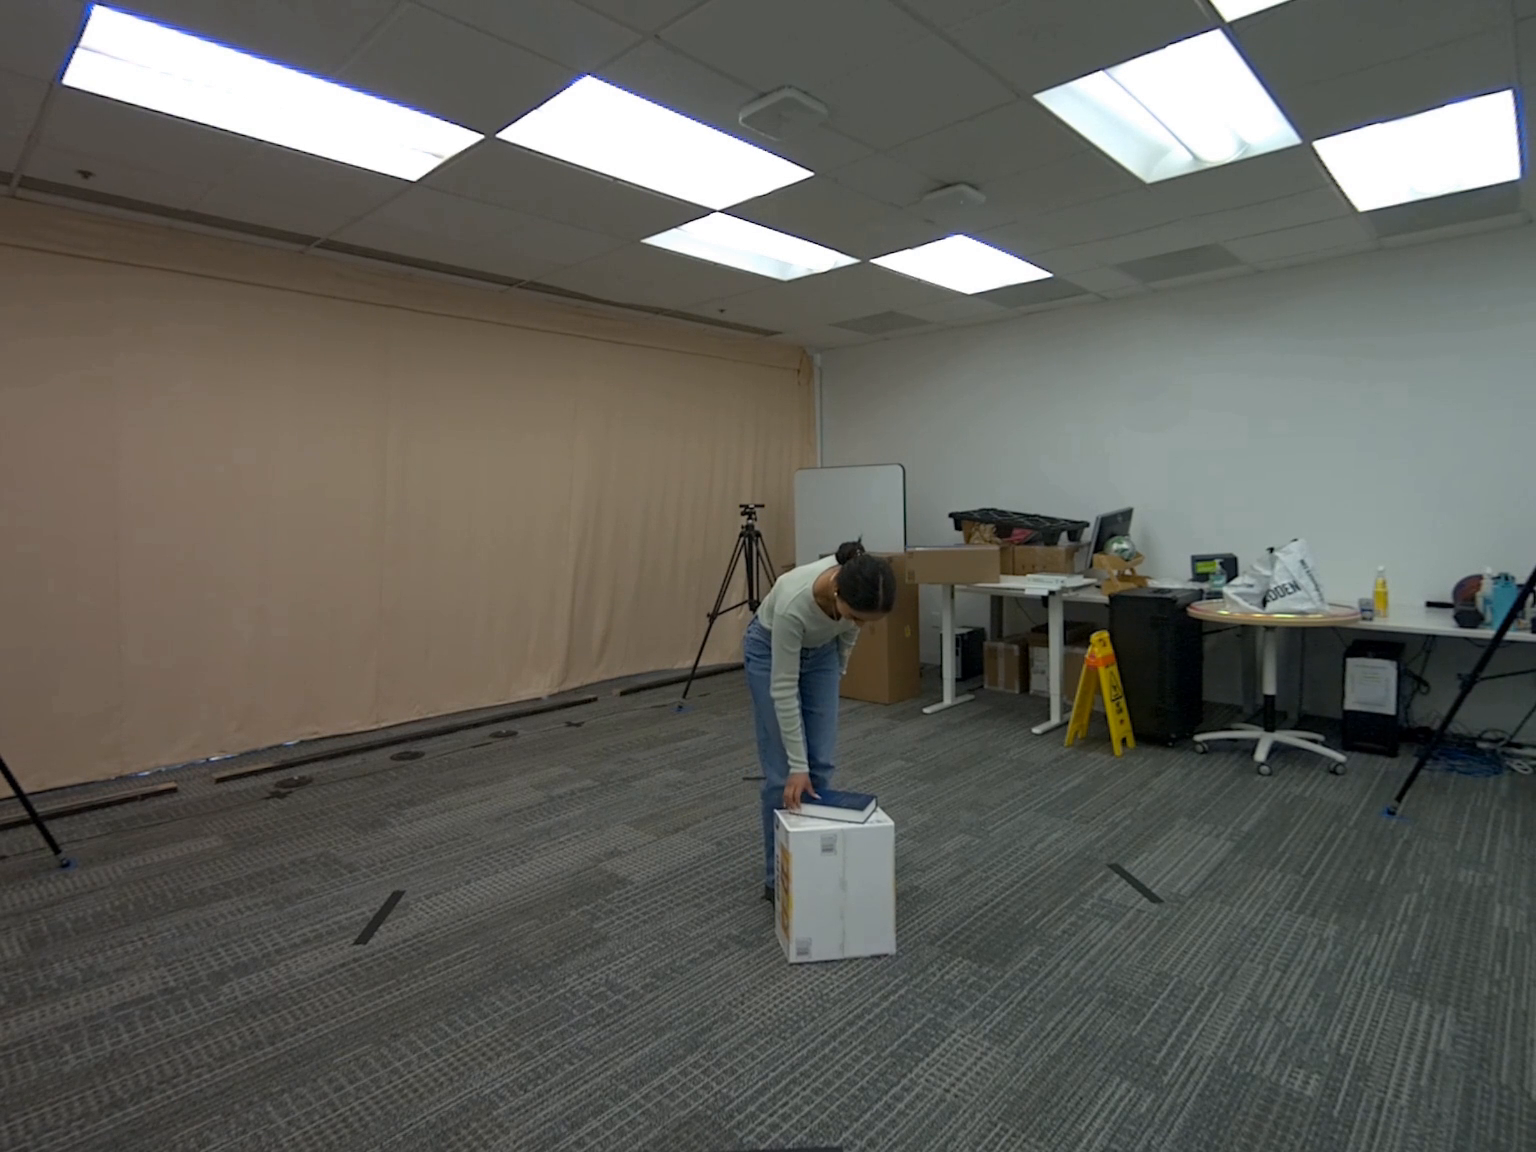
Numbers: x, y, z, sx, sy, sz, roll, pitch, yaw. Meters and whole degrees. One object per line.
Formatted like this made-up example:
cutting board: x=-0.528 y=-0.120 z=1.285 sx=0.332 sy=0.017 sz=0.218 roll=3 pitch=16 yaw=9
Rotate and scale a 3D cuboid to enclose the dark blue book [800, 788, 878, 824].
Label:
dark blue book: x=0.222 y=0.737 z=2.711 sx=0.251 sy=0.045 sz=0.160 roll=0 pitch=4 yaw=23
